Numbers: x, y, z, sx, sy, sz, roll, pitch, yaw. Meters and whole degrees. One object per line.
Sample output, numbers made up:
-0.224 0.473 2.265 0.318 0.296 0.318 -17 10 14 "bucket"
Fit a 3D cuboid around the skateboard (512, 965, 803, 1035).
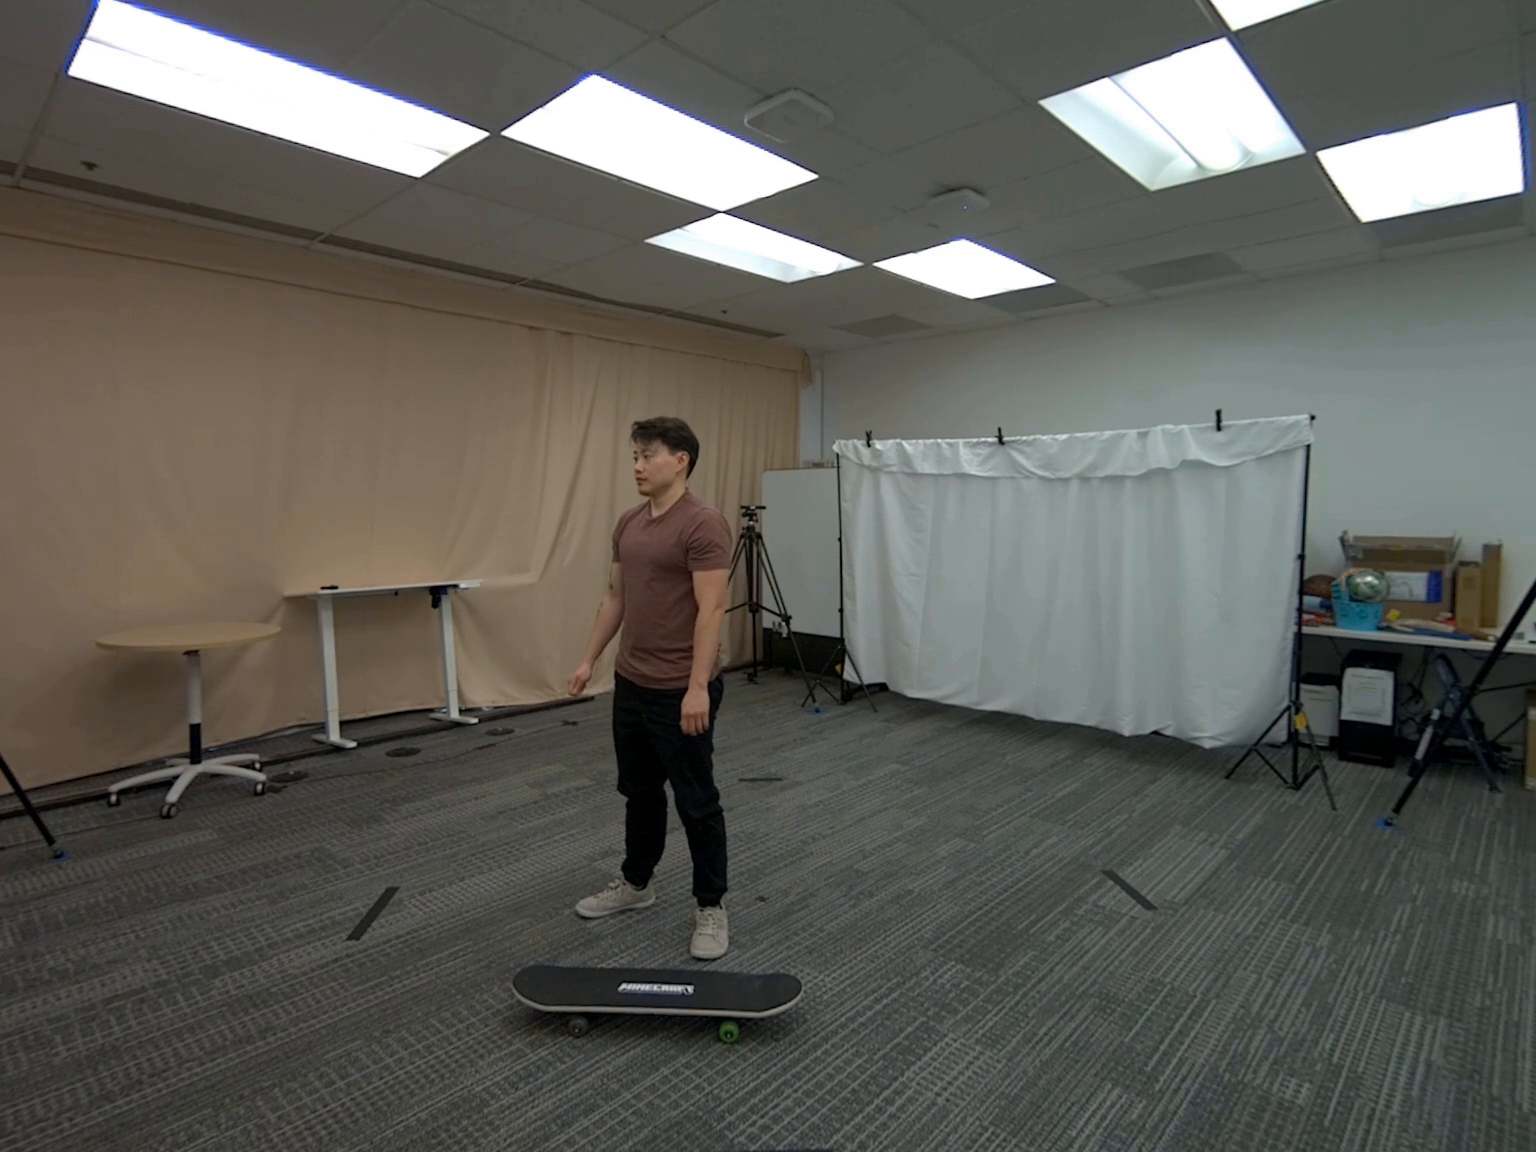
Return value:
-0.295 1.147 2.280 0.789 0.110 0.193 -1 3 4 "skateboard"
